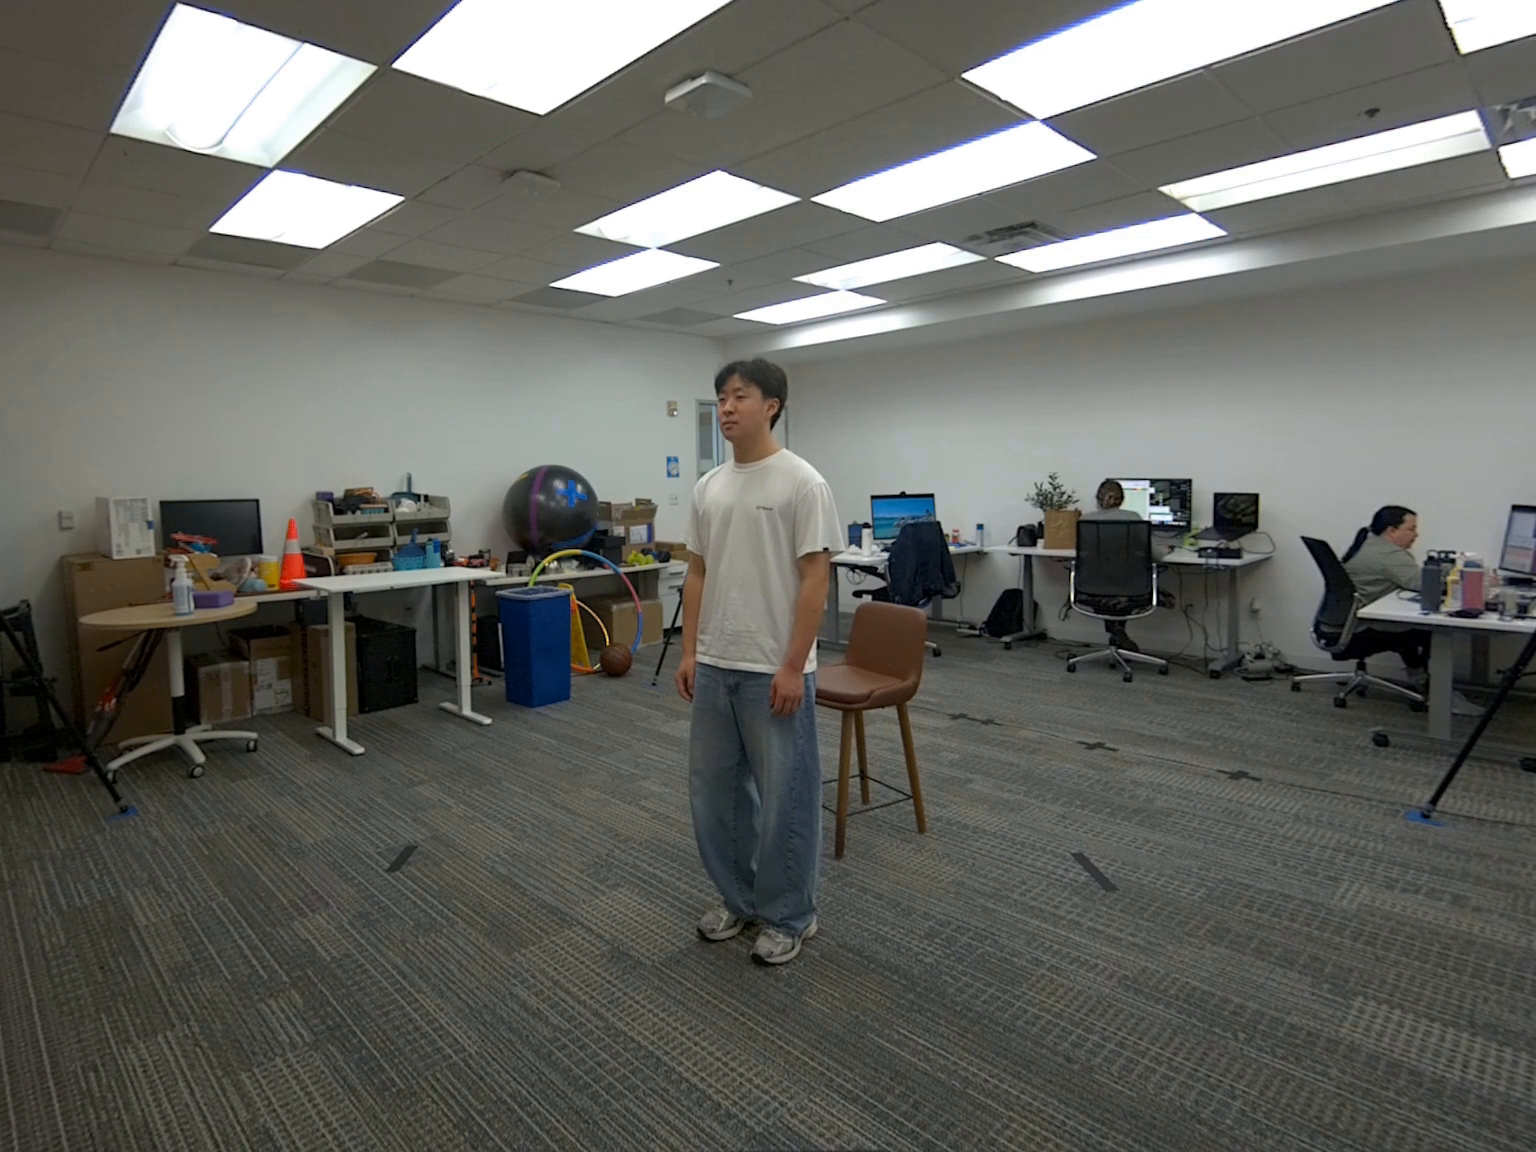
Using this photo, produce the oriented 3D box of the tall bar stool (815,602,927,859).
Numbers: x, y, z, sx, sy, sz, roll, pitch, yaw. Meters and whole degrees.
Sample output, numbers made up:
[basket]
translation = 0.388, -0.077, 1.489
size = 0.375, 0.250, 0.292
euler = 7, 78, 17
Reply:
[tall bar stool]
translation = 0.338, 0.570, 3.388
size = 0.456, 0.887, 0.469
euler = -1, 4, -32
